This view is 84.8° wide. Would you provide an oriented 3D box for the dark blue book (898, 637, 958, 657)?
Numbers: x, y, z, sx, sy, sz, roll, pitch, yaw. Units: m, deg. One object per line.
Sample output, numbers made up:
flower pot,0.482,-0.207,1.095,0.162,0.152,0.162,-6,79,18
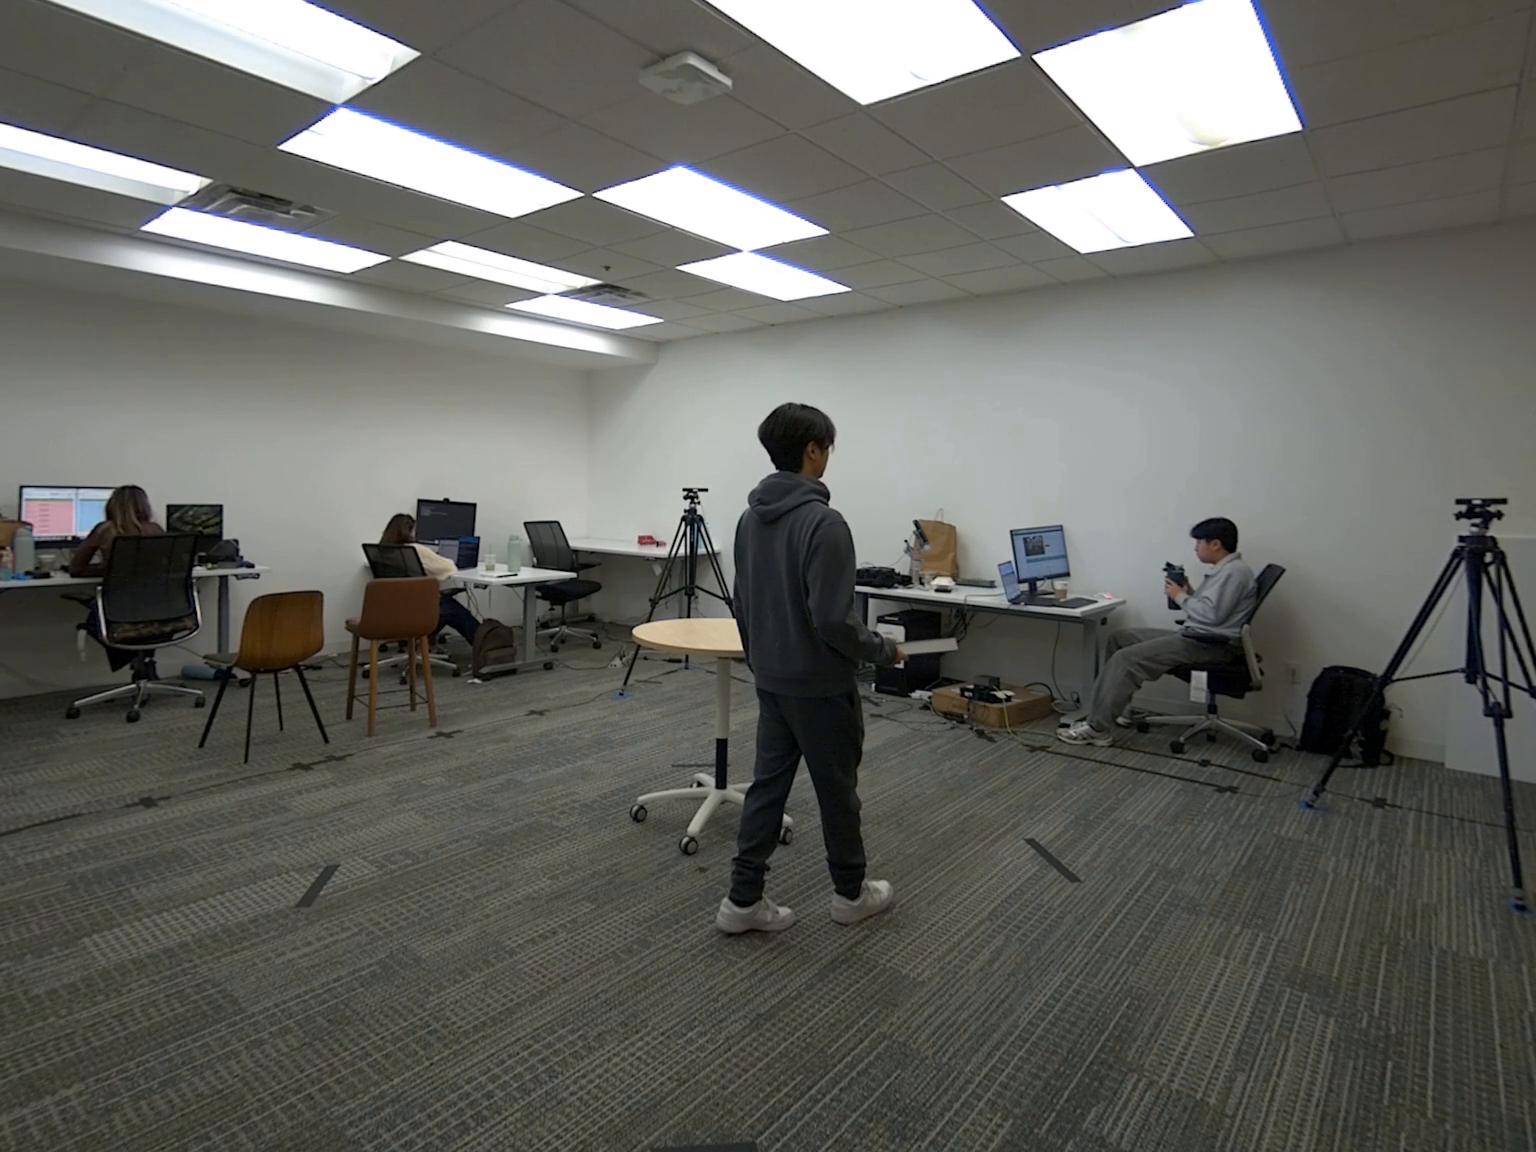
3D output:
dark blue book,0.471,0.228,2.710,0.246,0.045,0.161,-6,-6,5
